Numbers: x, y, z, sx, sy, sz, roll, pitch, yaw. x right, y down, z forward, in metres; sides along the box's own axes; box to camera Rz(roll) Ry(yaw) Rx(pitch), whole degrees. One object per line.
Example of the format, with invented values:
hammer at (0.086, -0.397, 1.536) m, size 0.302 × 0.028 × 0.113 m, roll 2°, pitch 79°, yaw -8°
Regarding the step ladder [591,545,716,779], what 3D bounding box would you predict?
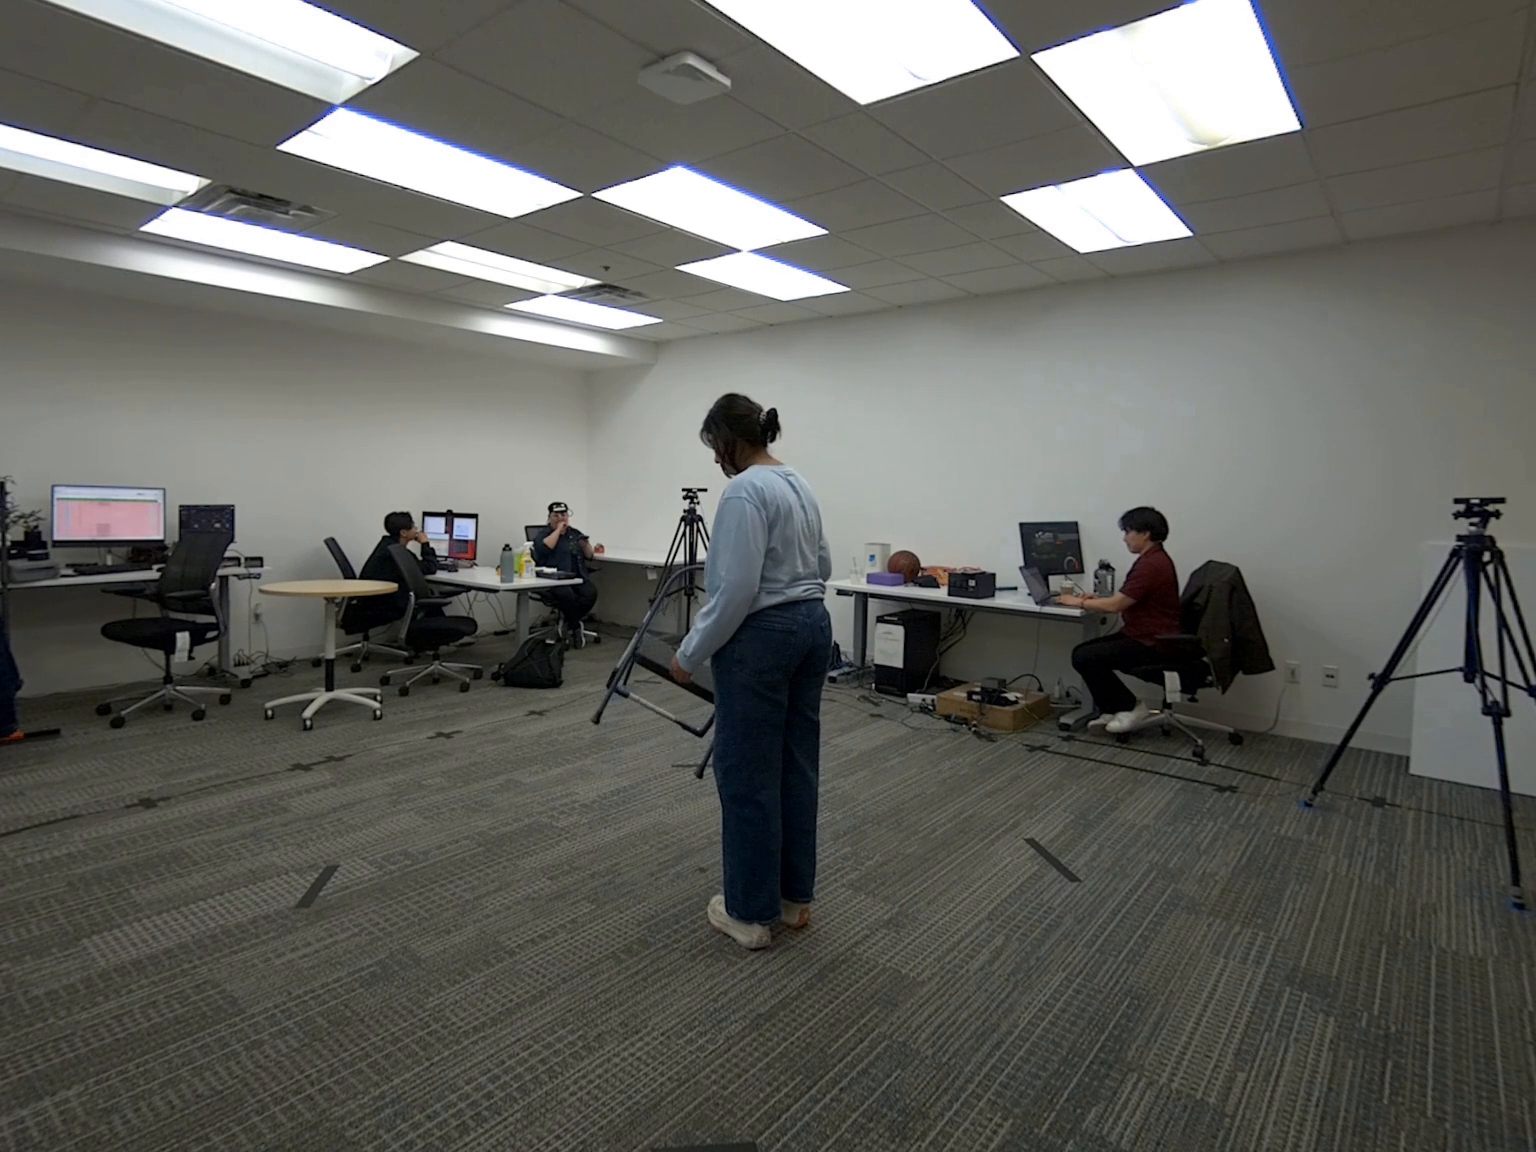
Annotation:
step ladder at (-0.273, 0.287, 2.961) m, size 0.426 × 0.604 × 0.354 m, roll 28°, pitch 8°, yaw -8°
